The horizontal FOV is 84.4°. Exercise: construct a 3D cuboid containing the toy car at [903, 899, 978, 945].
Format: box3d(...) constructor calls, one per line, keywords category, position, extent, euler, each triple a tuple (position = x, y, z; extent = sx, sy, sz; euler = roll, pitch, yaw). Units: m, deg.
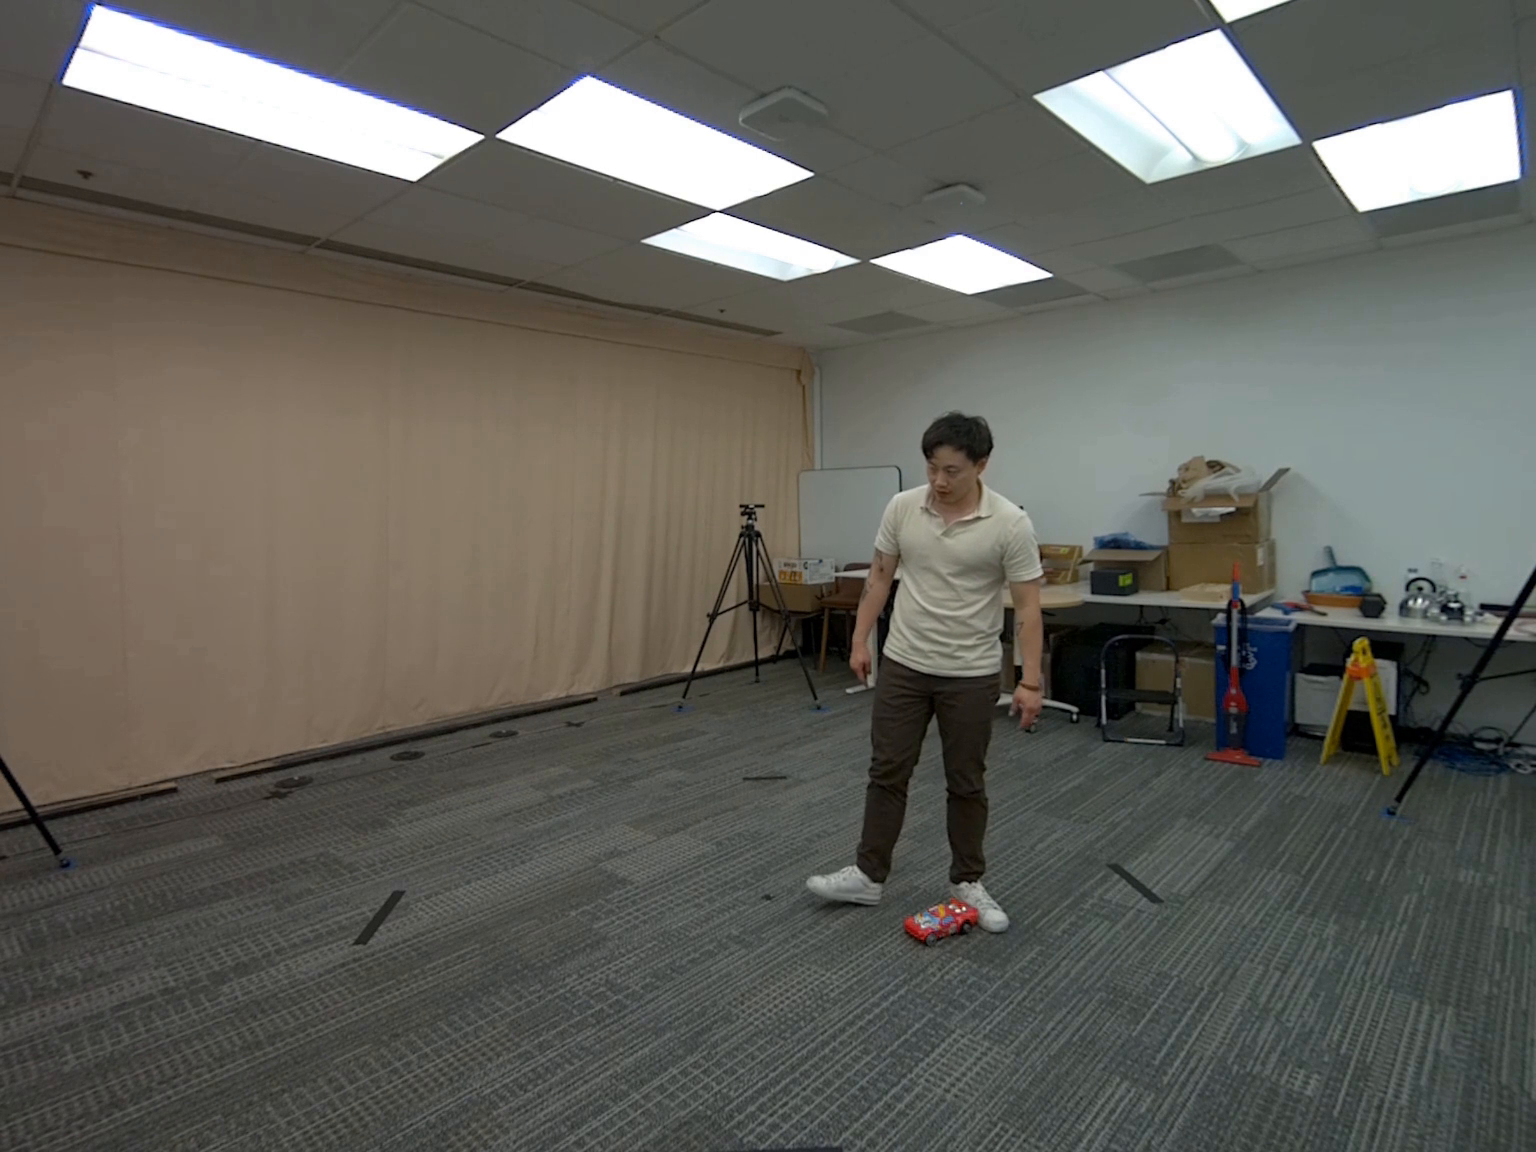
box3d(category="toy car", position=(0.573, 1.122, 2.721), extent=(0.249, 0.082, 0.134), euler=(-15, 11, -26))
